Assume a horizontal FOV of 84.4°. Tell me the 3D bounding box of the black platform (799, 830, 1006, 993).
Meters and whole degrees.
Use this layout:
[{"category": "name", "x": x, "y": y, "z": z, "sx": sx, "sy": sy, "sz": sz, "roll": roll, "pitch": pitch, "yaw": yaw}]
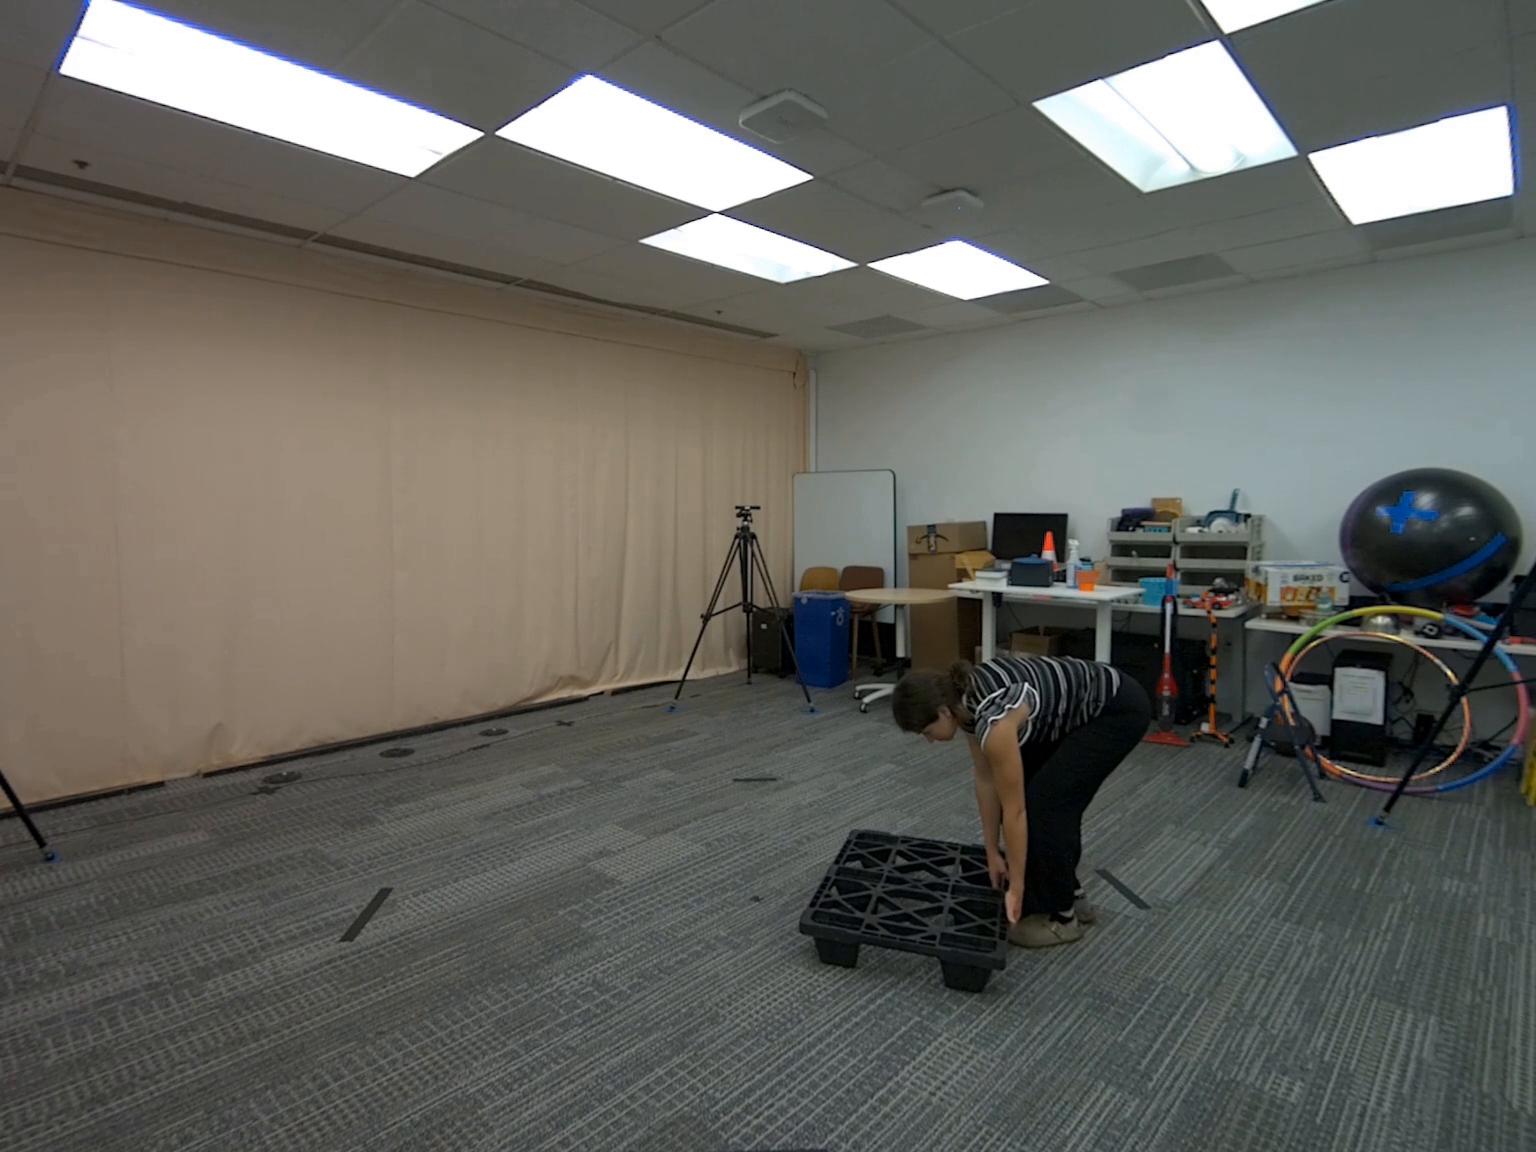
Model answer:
[{"category": "black platform", "x": 0.492, "y": 1.086, "z": 2.815, "sx": 0.618, "sy": 0.143, "sz": 0.791, "roll": 1, "pitch": 4, "yaw": 19}]
